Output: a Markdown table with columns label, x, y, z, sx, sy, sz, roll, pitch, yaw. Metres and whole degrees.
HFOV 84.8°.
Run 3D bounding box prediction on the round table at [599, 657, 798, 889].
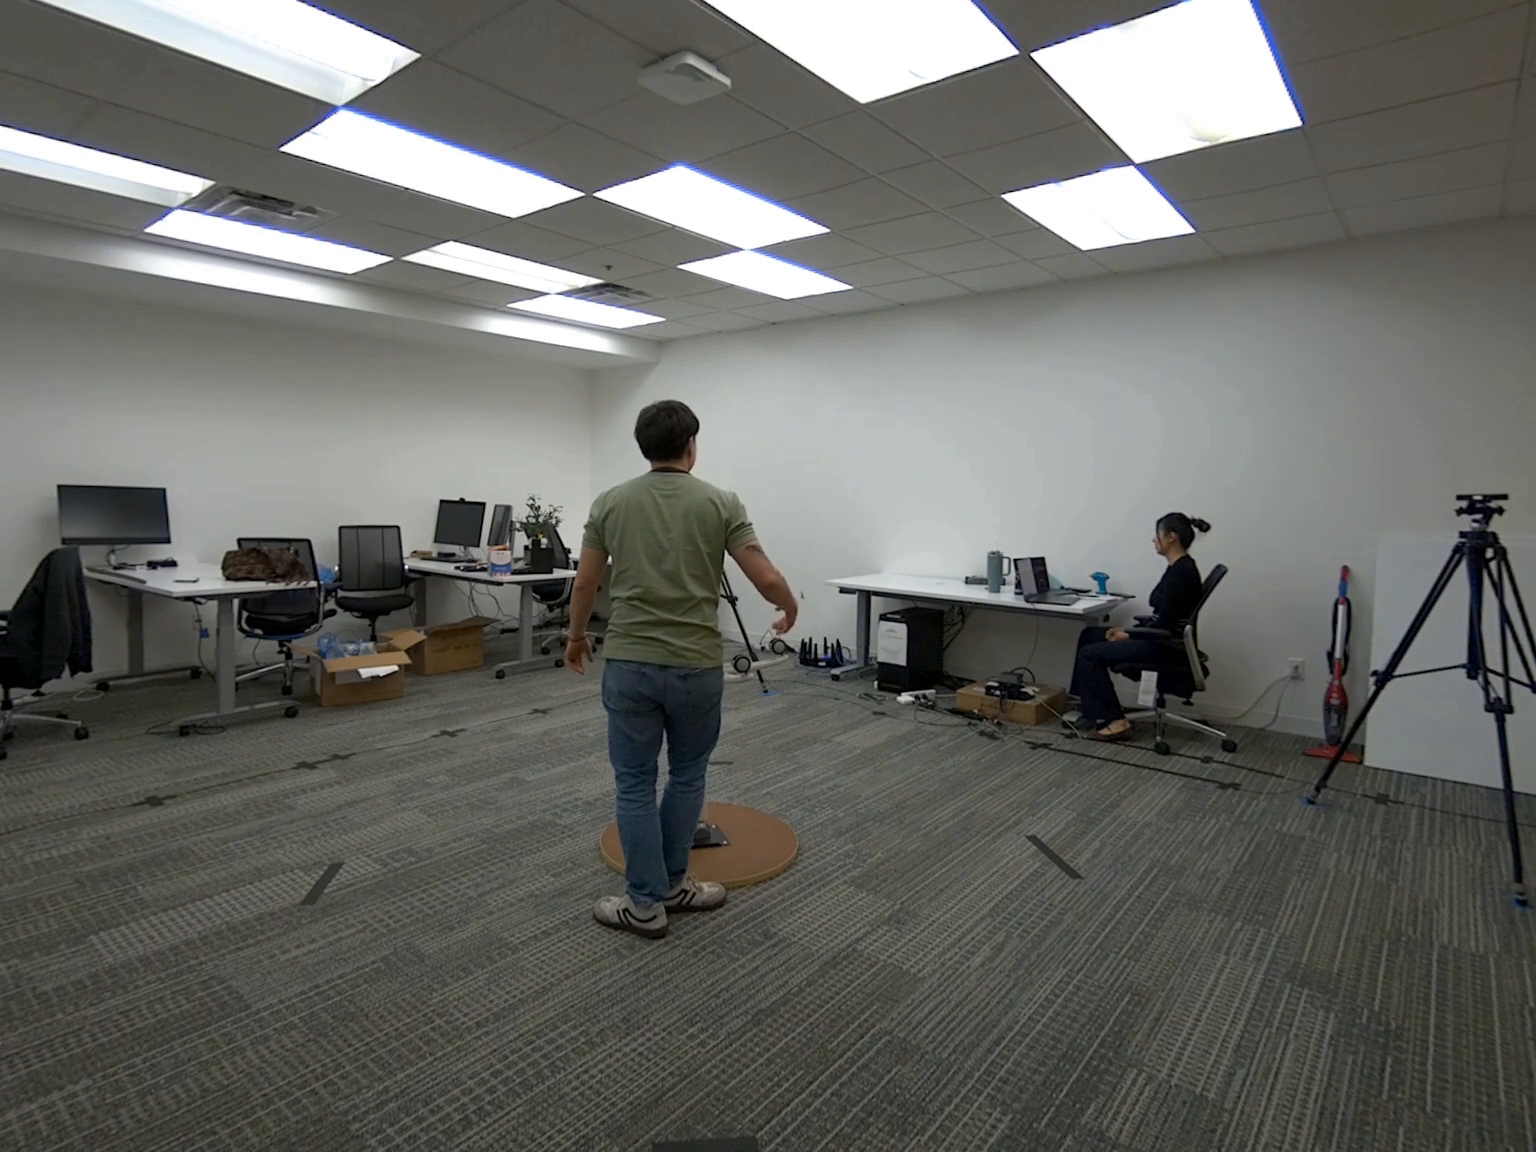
| label | x | y | z | sx | sy | sz | roll | pitch | yaw |
| --- | --- | --- | --- | --- | --- | --- | --- | --- | --- |
| round table | -0.269 | 0.648 | 3.301 | 0.763 | 0.791 | 0.768 | 0 | 4 | -2 |
